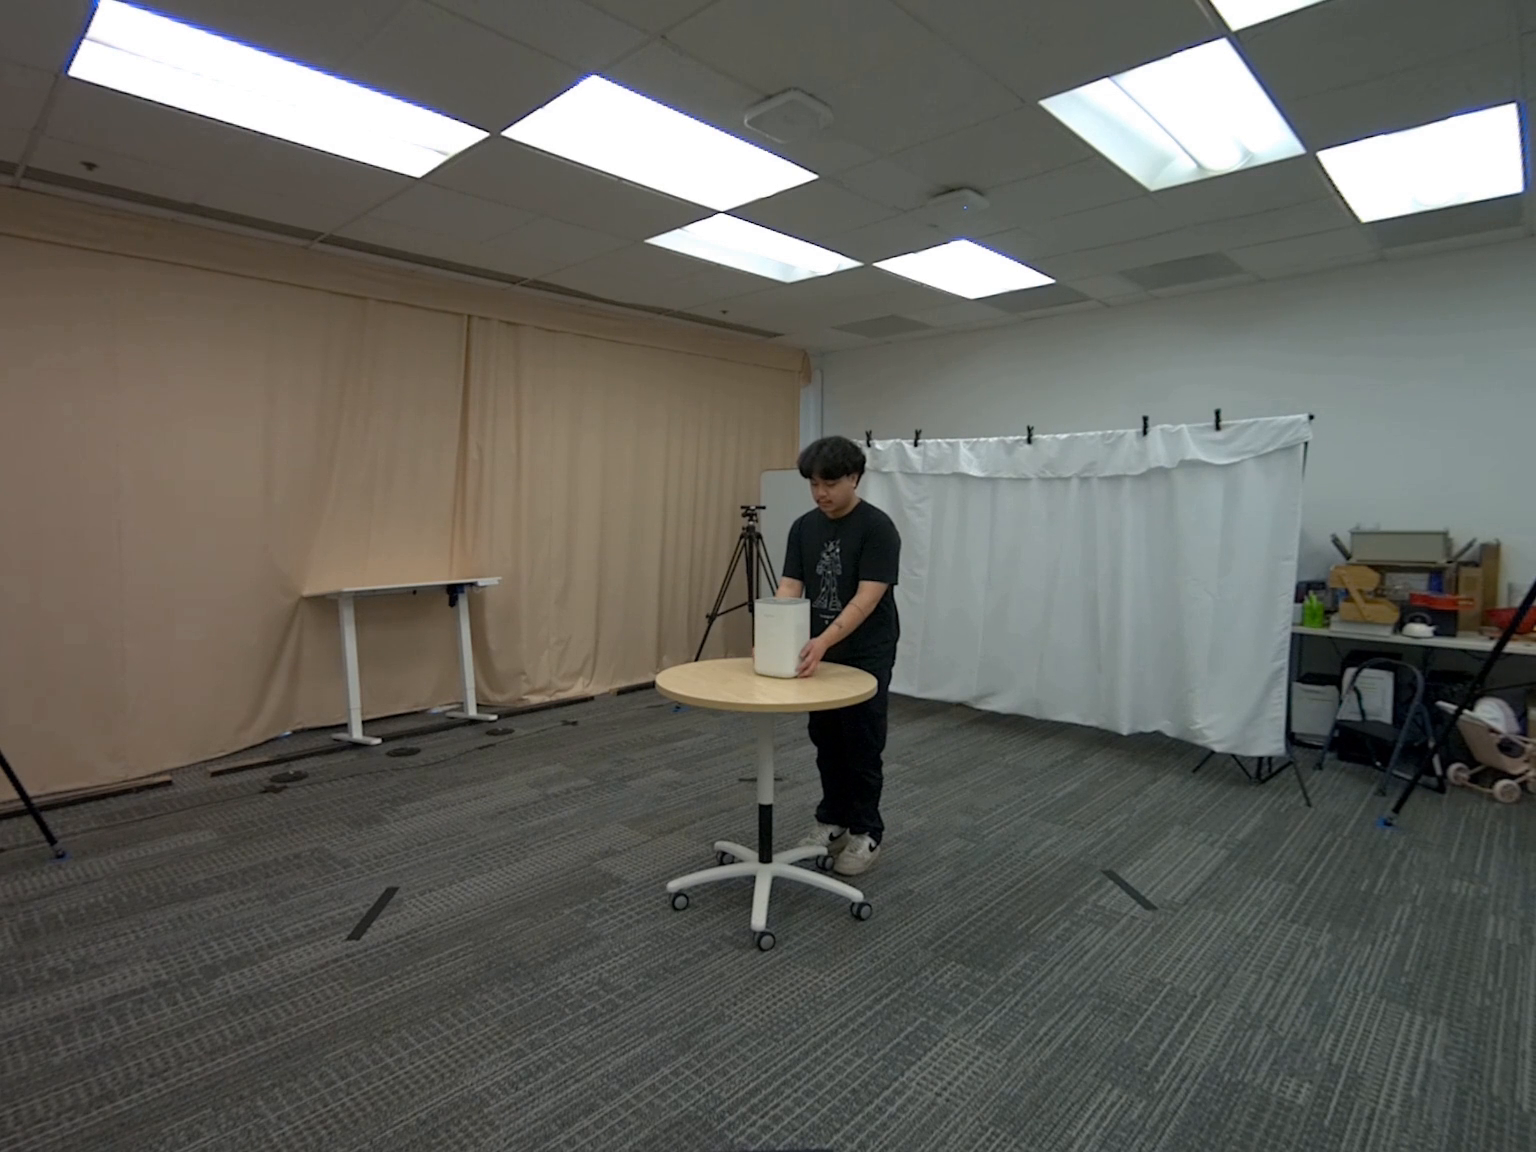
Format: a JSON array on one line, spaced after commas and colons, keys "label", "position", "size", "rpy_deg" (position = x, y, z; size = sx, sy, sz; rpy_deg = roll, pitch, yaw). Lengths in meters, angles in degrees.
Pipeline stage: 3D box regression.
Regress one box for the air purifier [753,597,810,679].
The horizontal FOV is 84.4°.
[{"label": "air purifier", "position": [0.056, 0.217, 2.983], "size": [0.176, 0.265, 0.167], "rpy_deg": [3, 5, 31]}]
